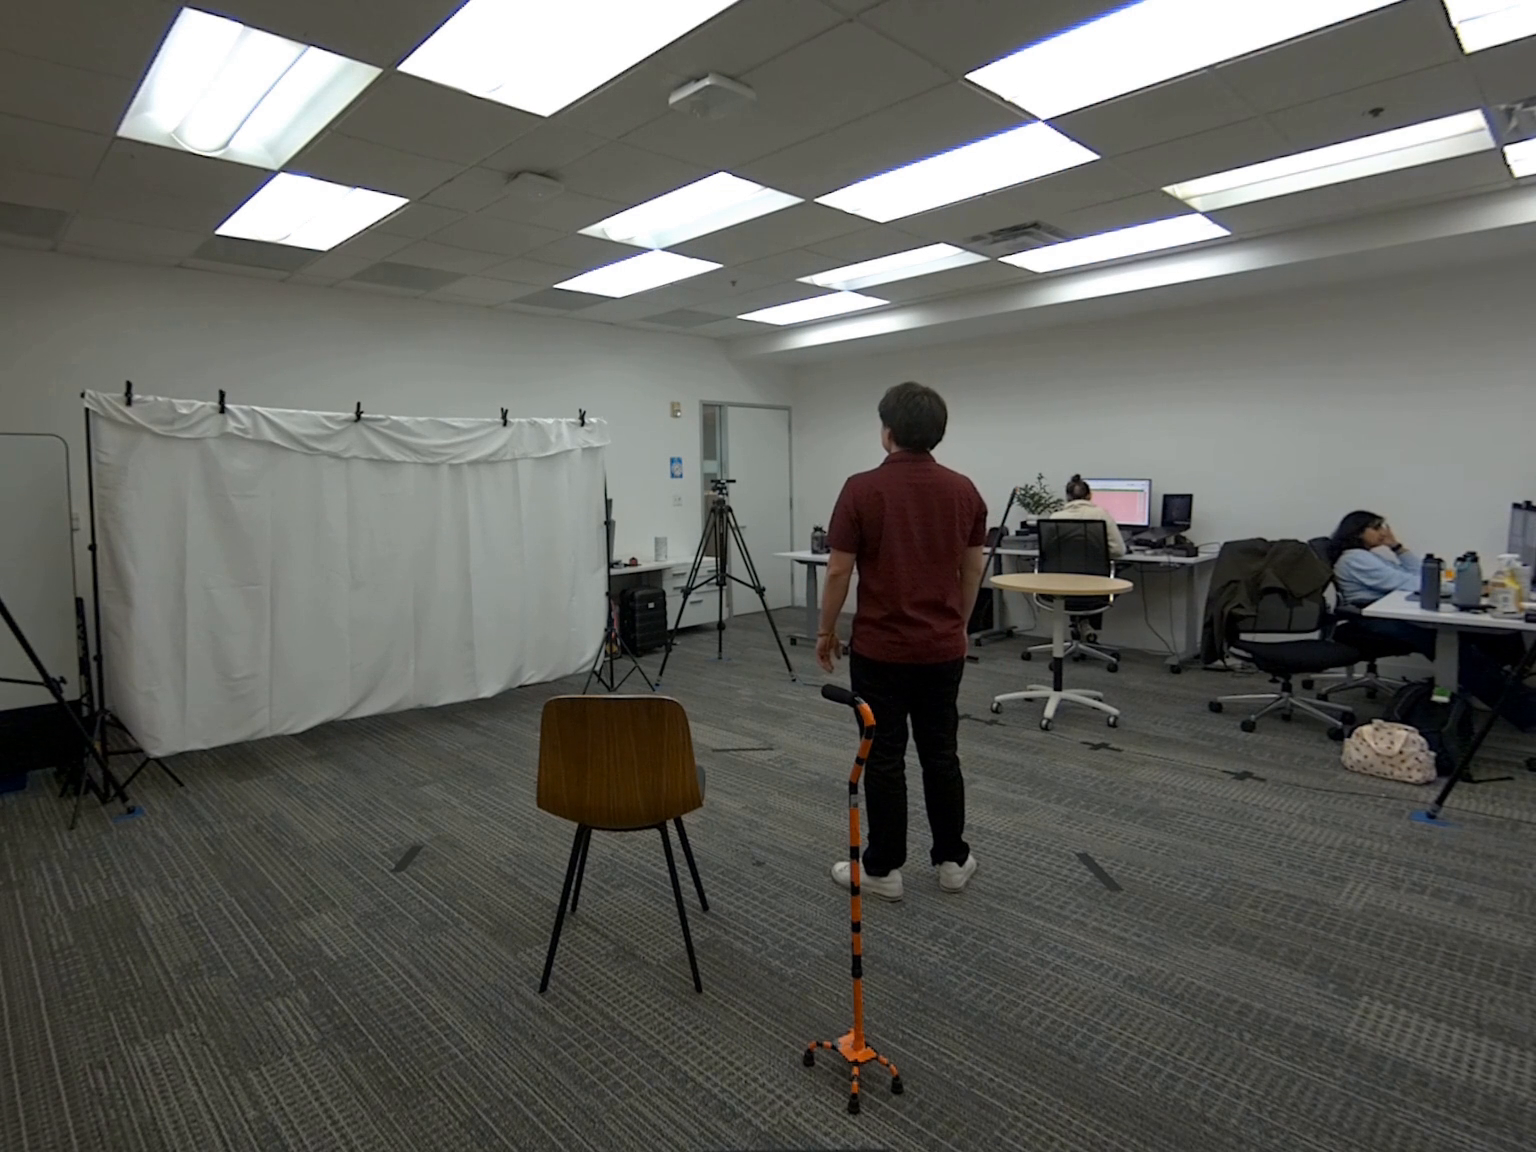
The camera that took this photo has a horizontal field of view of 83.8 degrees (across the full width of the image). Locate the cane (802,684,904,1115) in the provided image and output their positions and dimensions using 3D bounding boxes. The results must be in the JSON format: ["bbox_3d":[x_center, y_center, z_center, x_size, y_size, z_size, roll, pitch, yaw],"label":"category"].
[{"bbox_3d":[0.199,0.725,1.971,0.148,0.906,0.212,-3,3,-31],"label":"cane"}]
